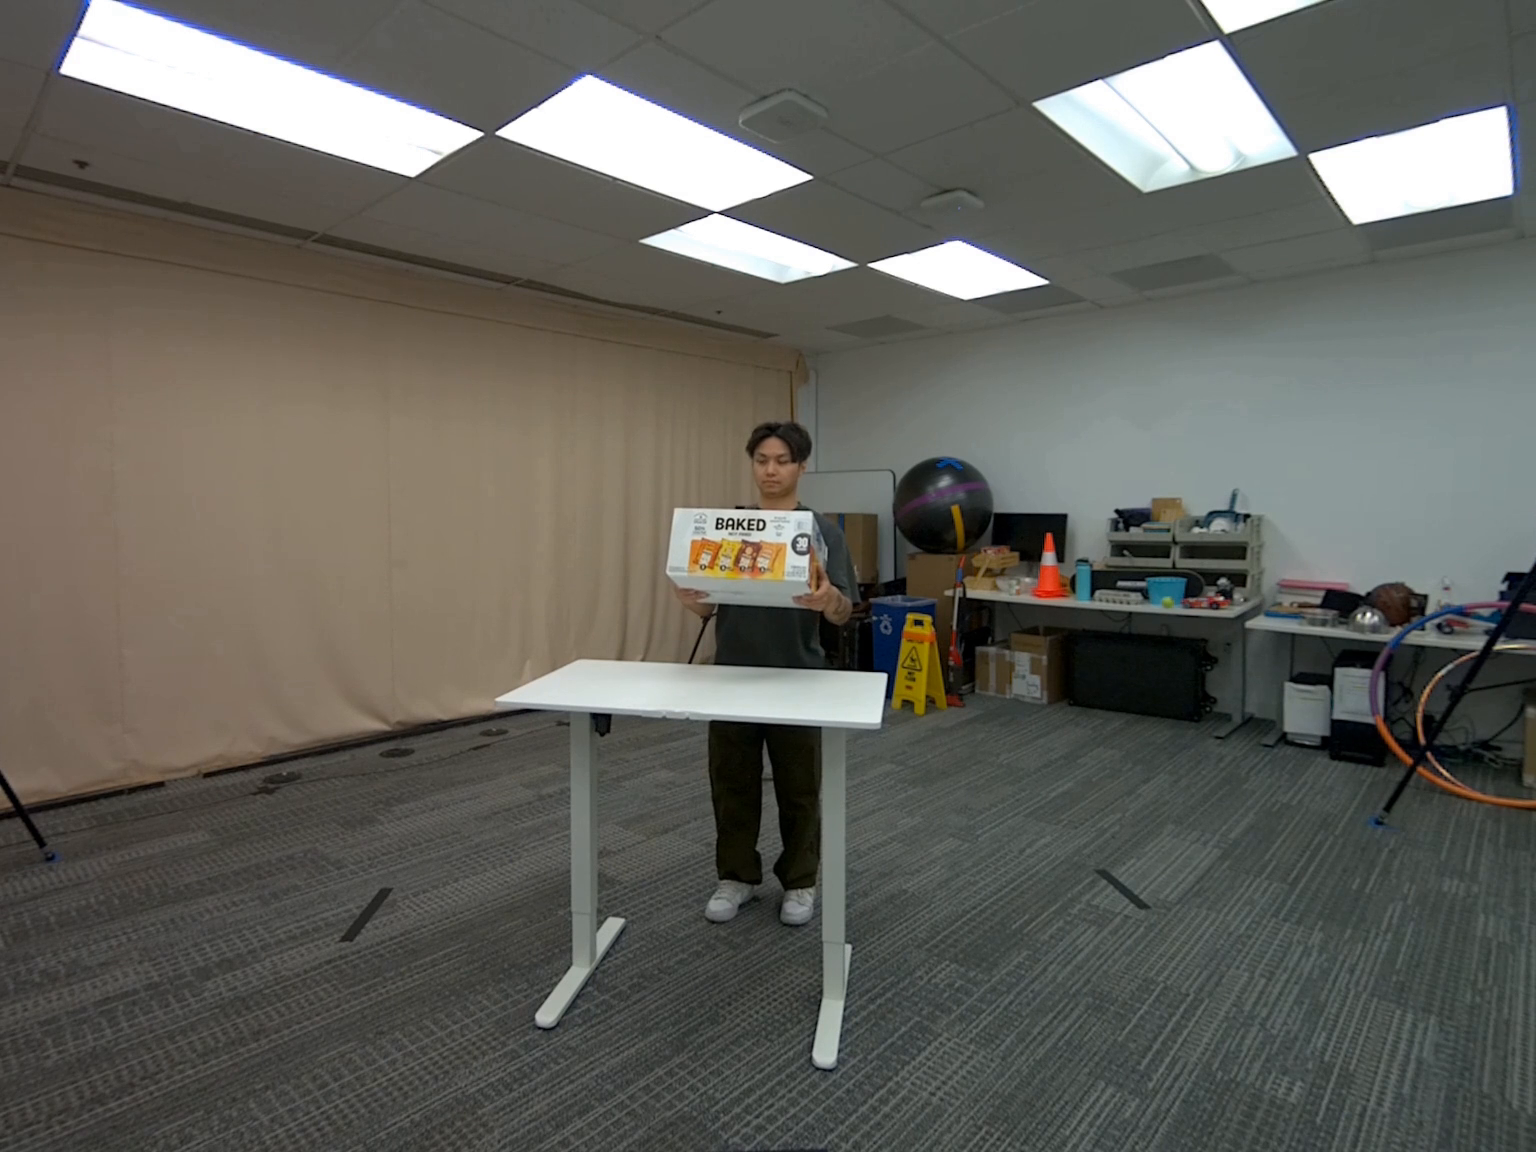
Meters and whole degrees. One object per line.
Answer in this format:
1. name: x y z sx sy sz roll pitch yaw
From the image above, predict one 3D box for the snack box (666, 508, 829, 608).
1. snack box: -0.049 -0.047 2.516 0.411 0.207 0.332 2 -15 14
